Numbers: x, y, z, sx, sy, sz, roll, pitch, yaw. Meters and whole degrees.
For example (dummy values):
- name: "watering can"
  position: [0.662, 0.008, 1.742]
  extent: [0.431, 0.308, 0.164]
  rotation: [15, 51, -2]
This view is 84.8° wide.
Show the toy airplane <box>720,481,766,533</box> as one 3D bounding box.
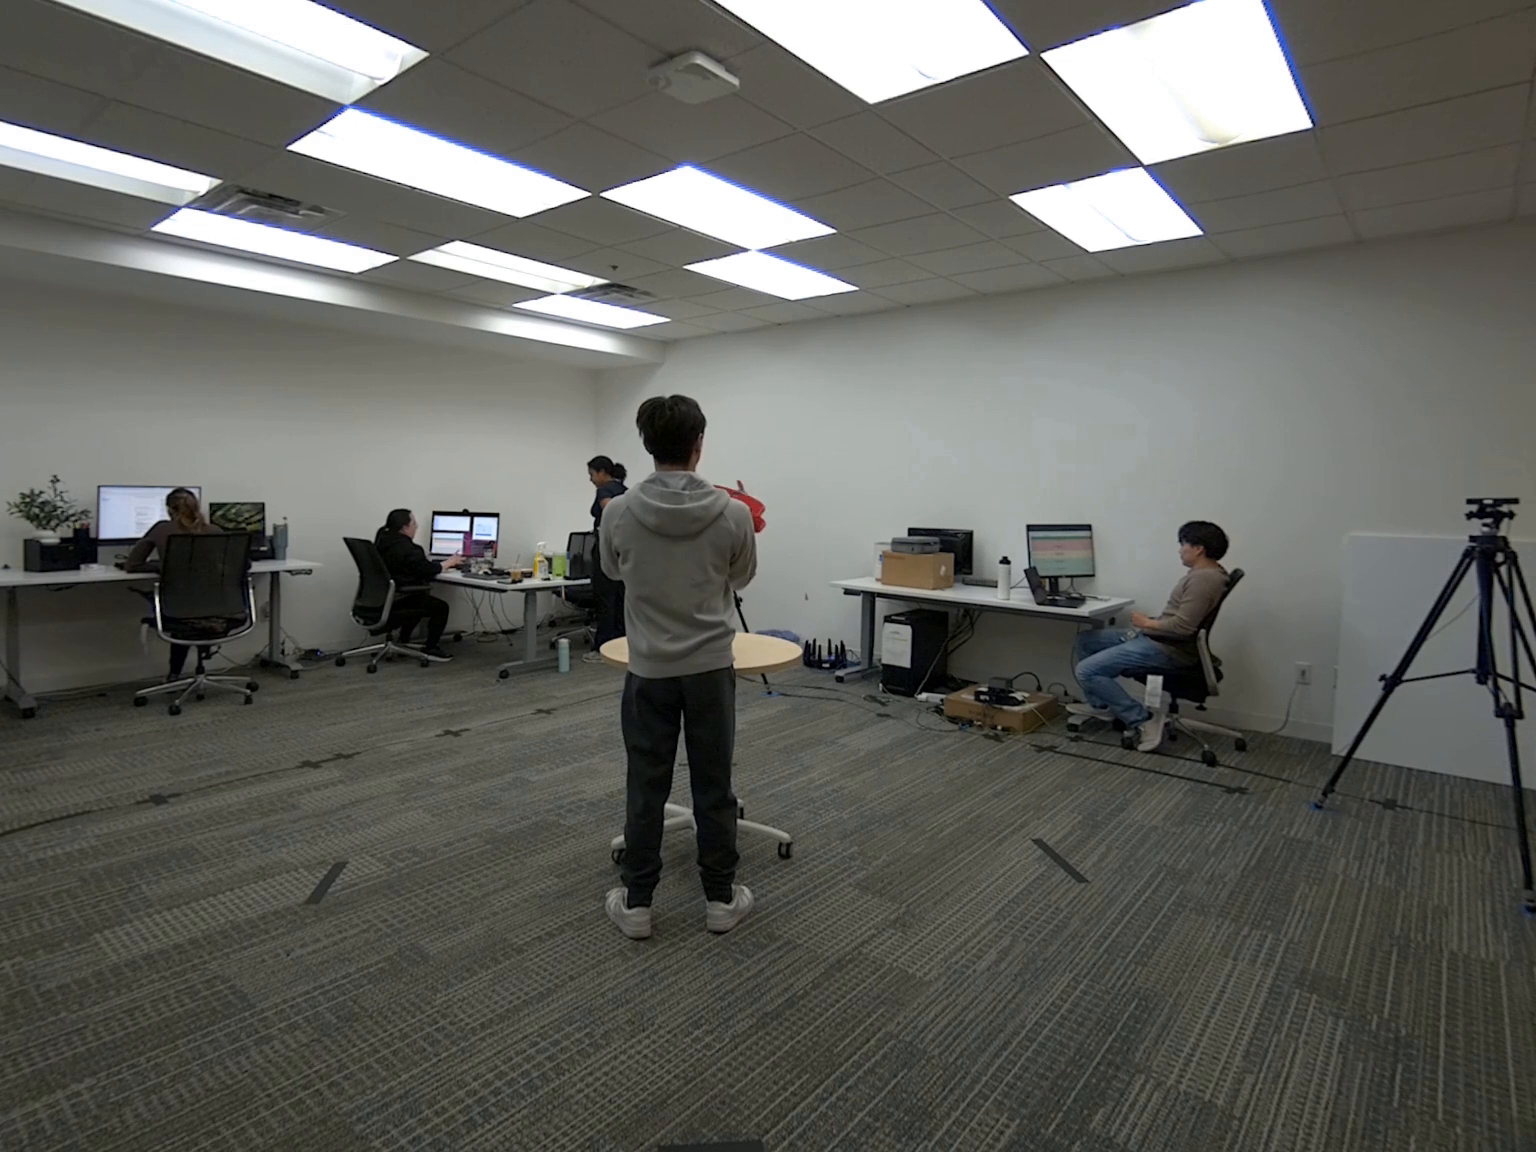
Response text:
- name: "toy airplane"
  position: [-0.143, -0.194, 3.045]
  extent: [0.251, 0.152, 0.266]
  rotation: [1, 36, -2]
